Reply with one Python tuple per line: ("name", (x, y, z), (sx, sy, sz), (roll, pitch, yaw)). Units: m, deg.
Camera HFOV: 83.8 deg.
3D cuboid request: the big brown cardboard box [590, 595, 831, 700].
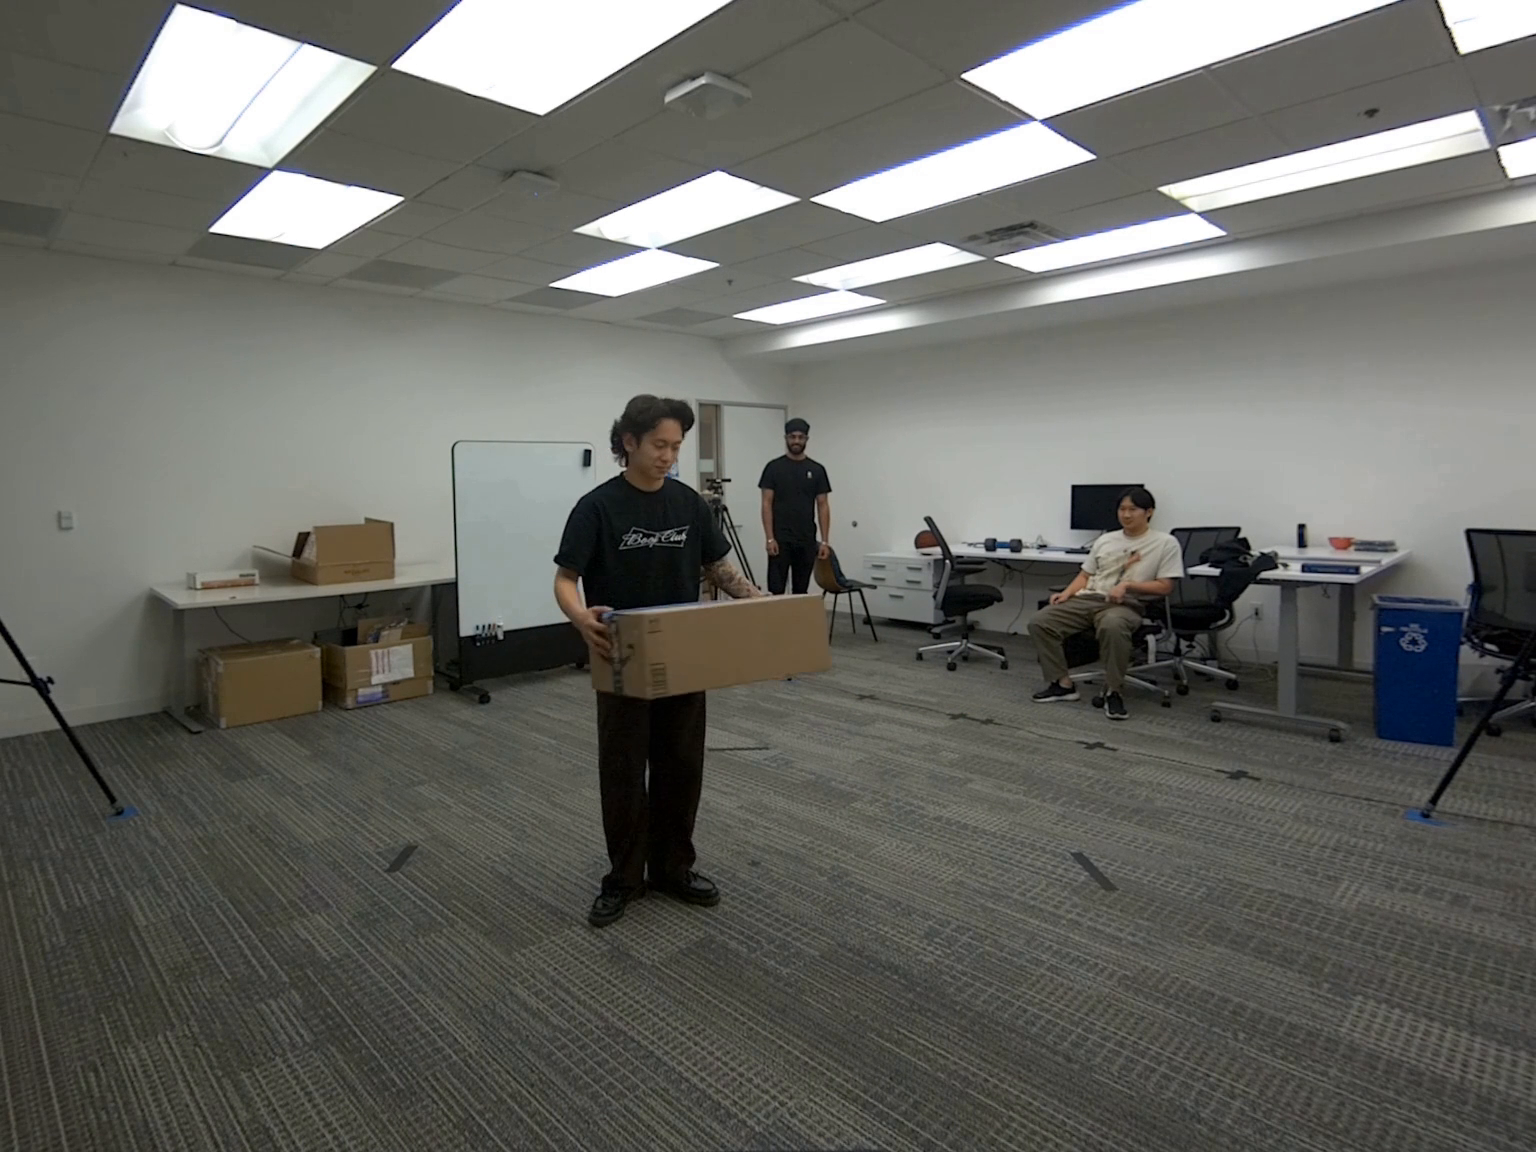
("big brown cardboard box", (-0.188, 0.188, 2.442), (0.575, 0.234, 0.426), (-4, -2, -30))
